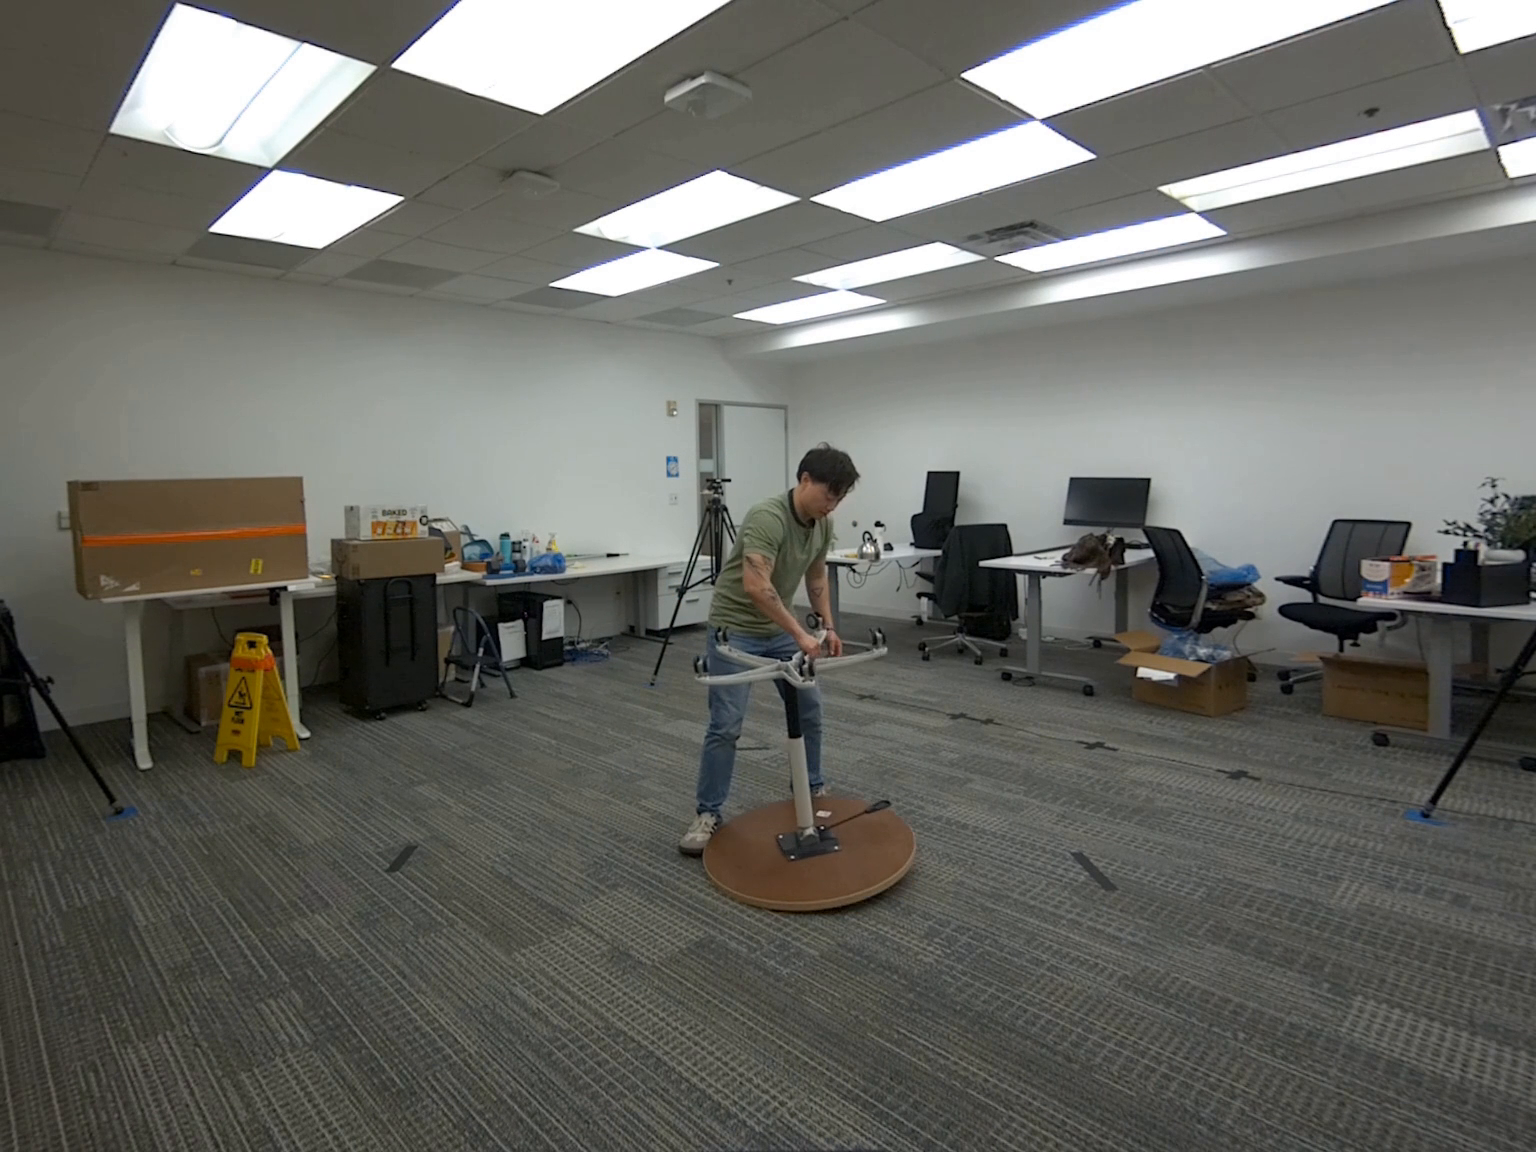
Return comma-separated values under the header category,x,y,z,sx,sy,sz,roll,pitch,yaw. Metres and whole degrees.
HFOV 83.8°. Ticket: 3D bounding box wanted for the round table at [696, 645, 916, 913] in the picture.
category,x,y,z,sx,sy,sz,roll,pitch,yaw
round table,0.106,0.613,3.050,0.764,0.788,0.770,-7,8,-1
